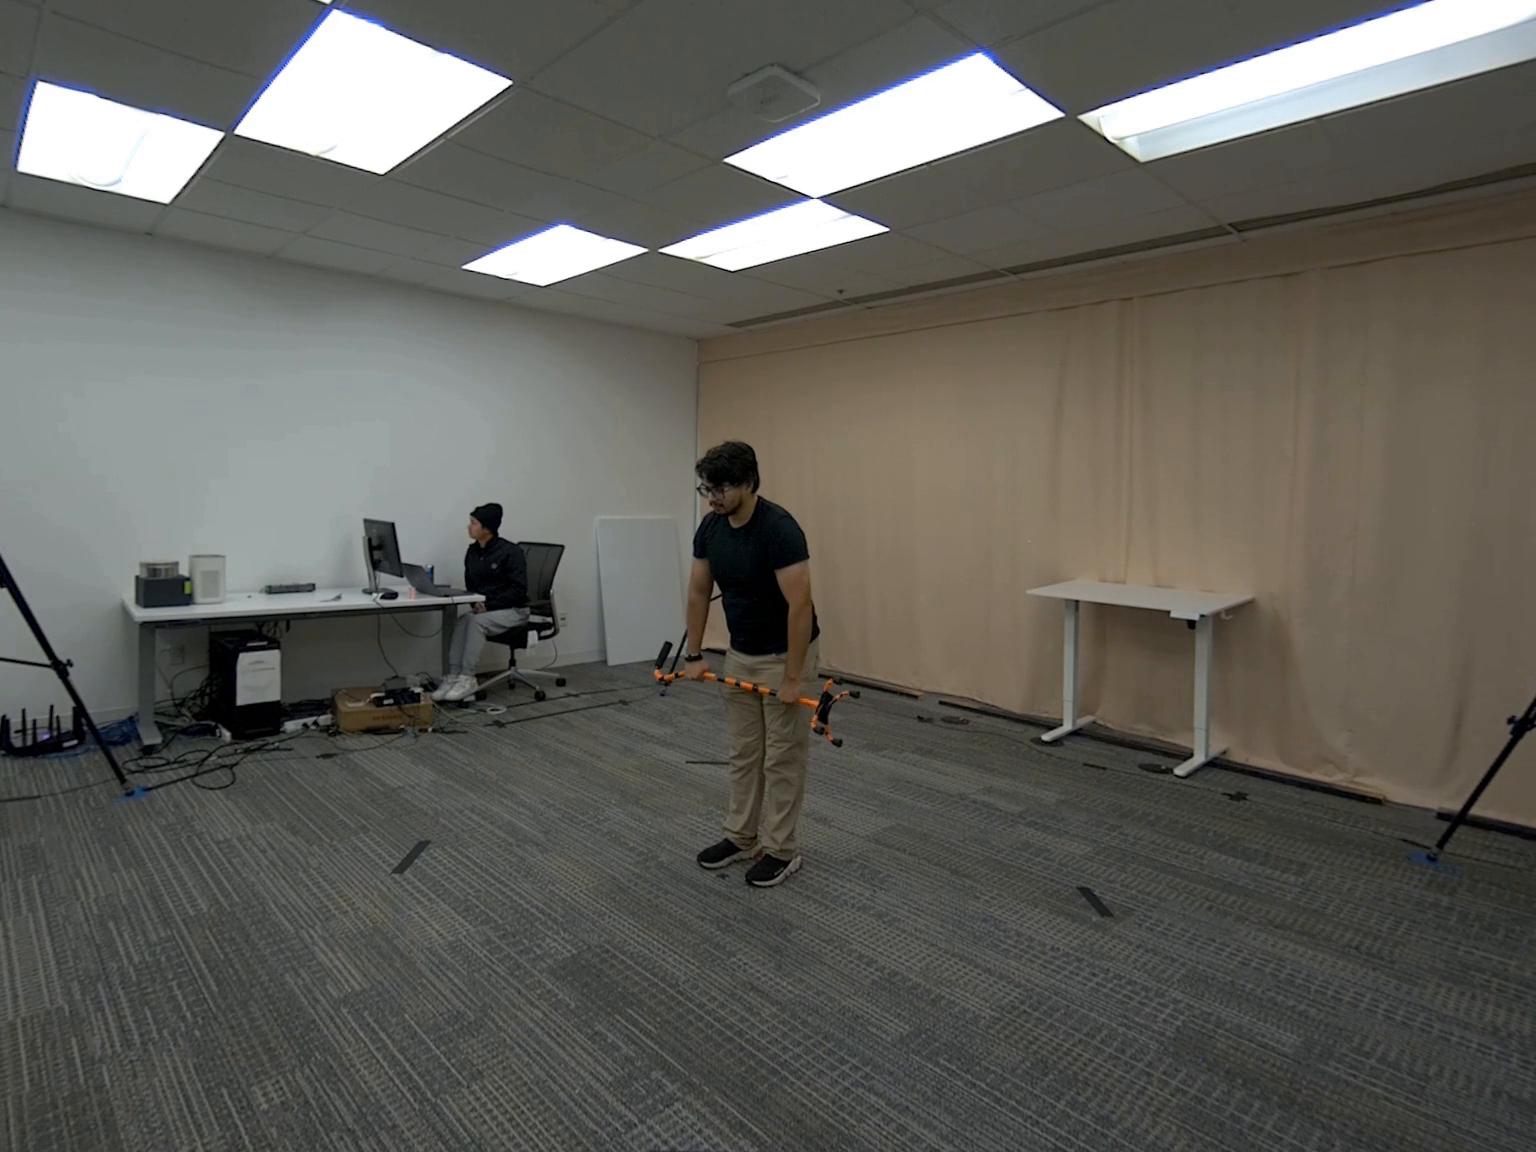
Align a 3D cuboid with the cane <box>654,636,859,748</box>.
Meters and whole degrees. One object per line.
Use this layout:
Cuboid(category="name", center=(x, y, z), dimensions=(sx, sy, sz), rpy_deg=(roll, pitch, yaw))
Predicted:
Cuboid(category="cane", center=(-0.123, 0.411, 3.106), dimensions=(0.932, 0.208, 0.147), rpy_deg=(8, -23, 42))
